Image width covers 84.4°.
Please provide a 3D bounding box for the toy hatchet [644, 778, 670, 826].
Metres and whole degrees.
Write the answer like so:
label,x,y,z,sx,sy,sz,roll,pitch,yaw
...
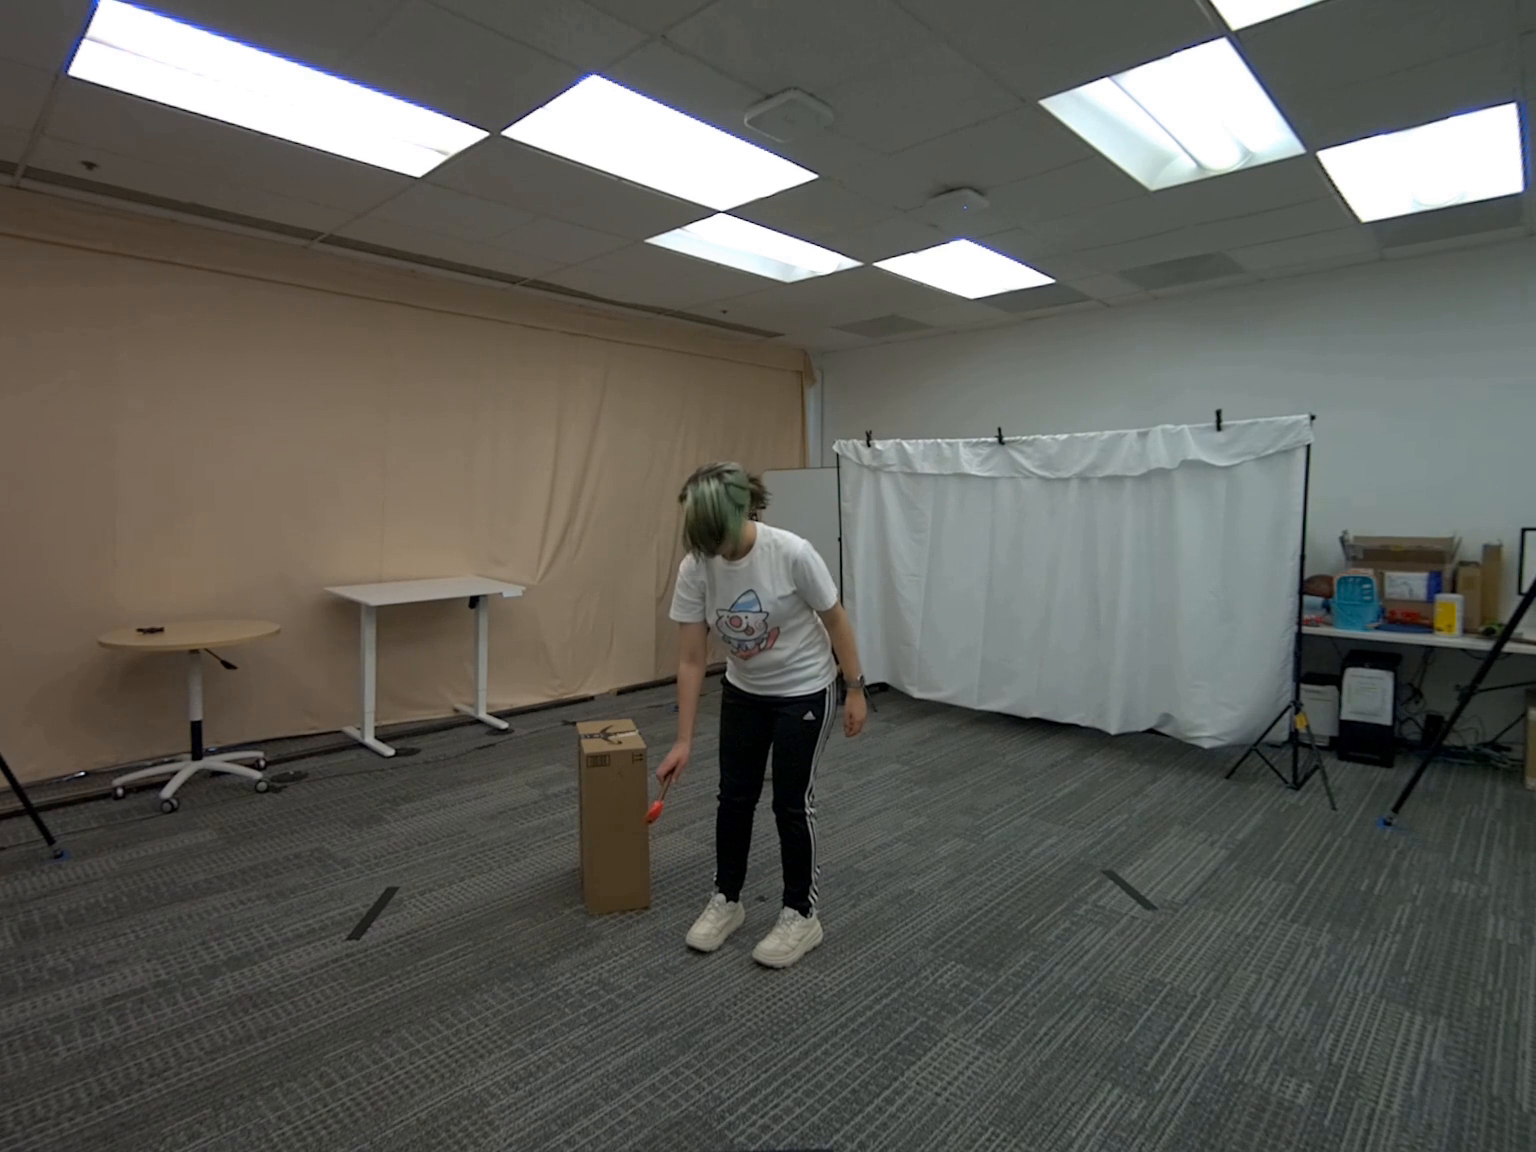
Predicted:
label,x,y,z,sx,sy,sz,roll,pitch,yaw
toy hatchet,-0.300,0.638,2.501,0.030,0.131,0.269,31,23,0
